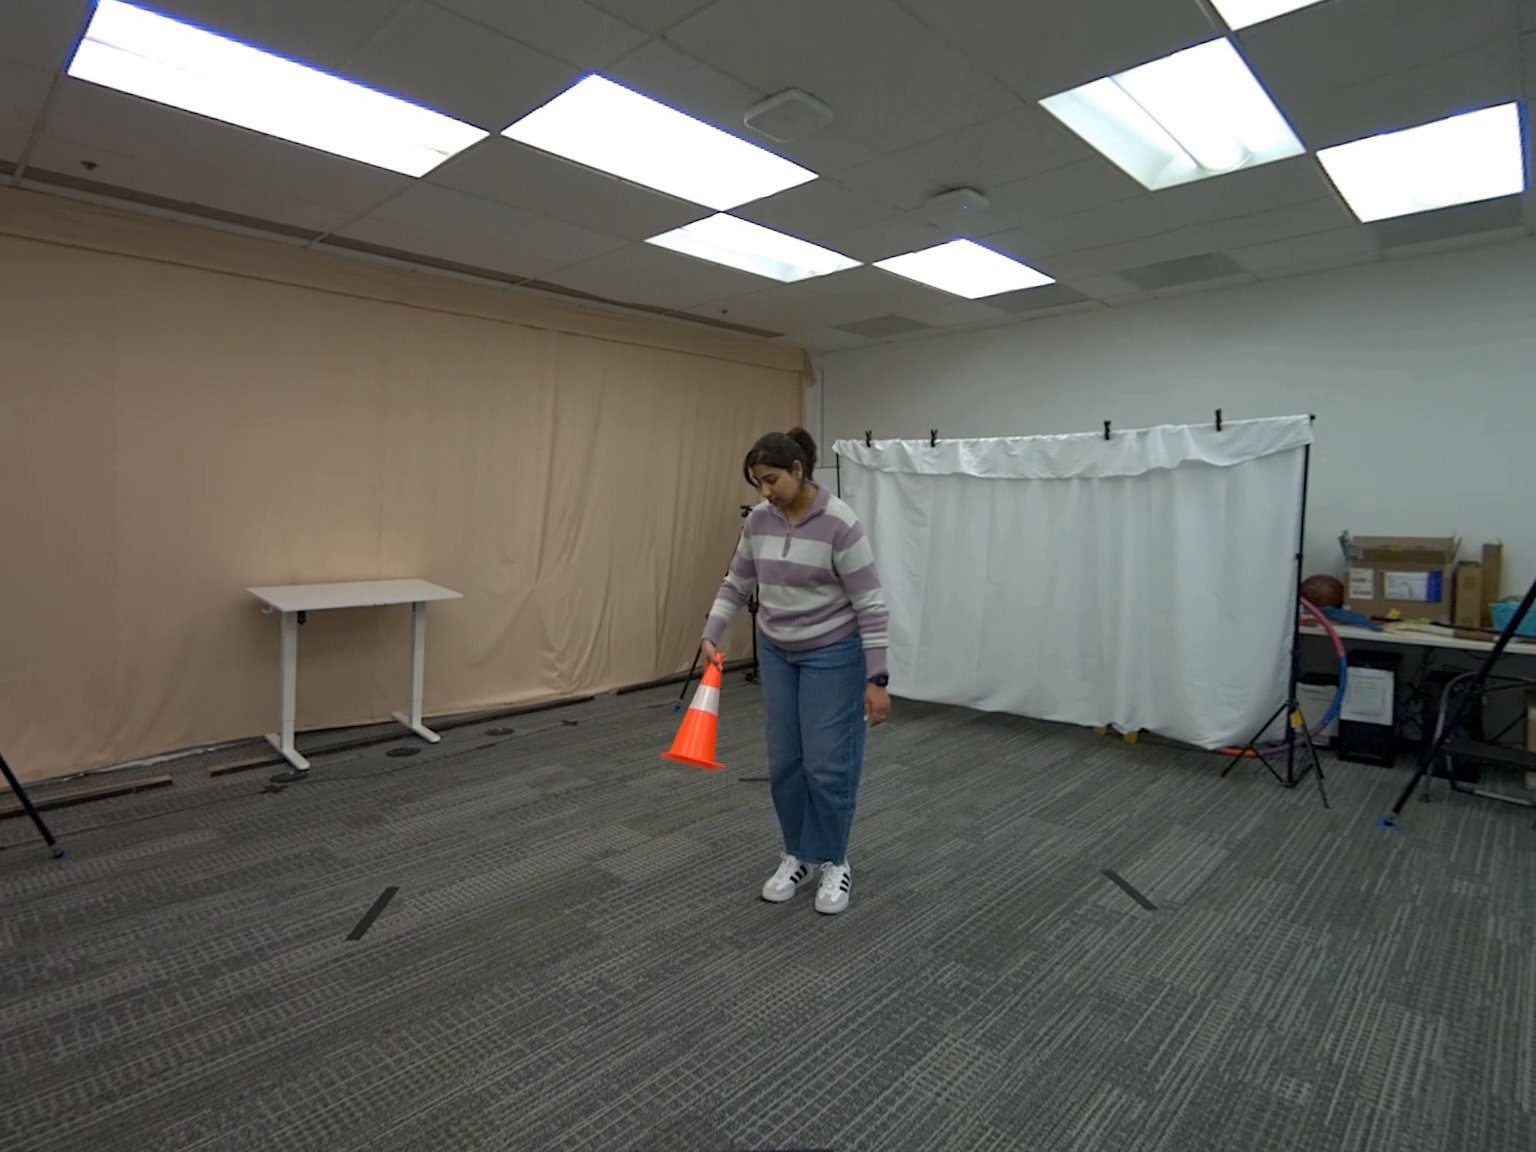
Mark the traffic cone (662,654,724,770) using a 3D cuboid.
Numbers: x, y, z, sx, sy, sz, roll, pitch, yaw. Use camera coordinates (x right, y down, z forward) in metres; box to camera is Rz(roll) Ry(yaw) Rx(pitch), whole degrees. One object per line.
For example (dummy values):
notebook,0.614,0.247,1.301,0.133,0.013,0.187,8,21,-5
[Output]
traffic cone,-0.207,0.461,2.896,0.202,0.386,0.204,17,-21,-11
